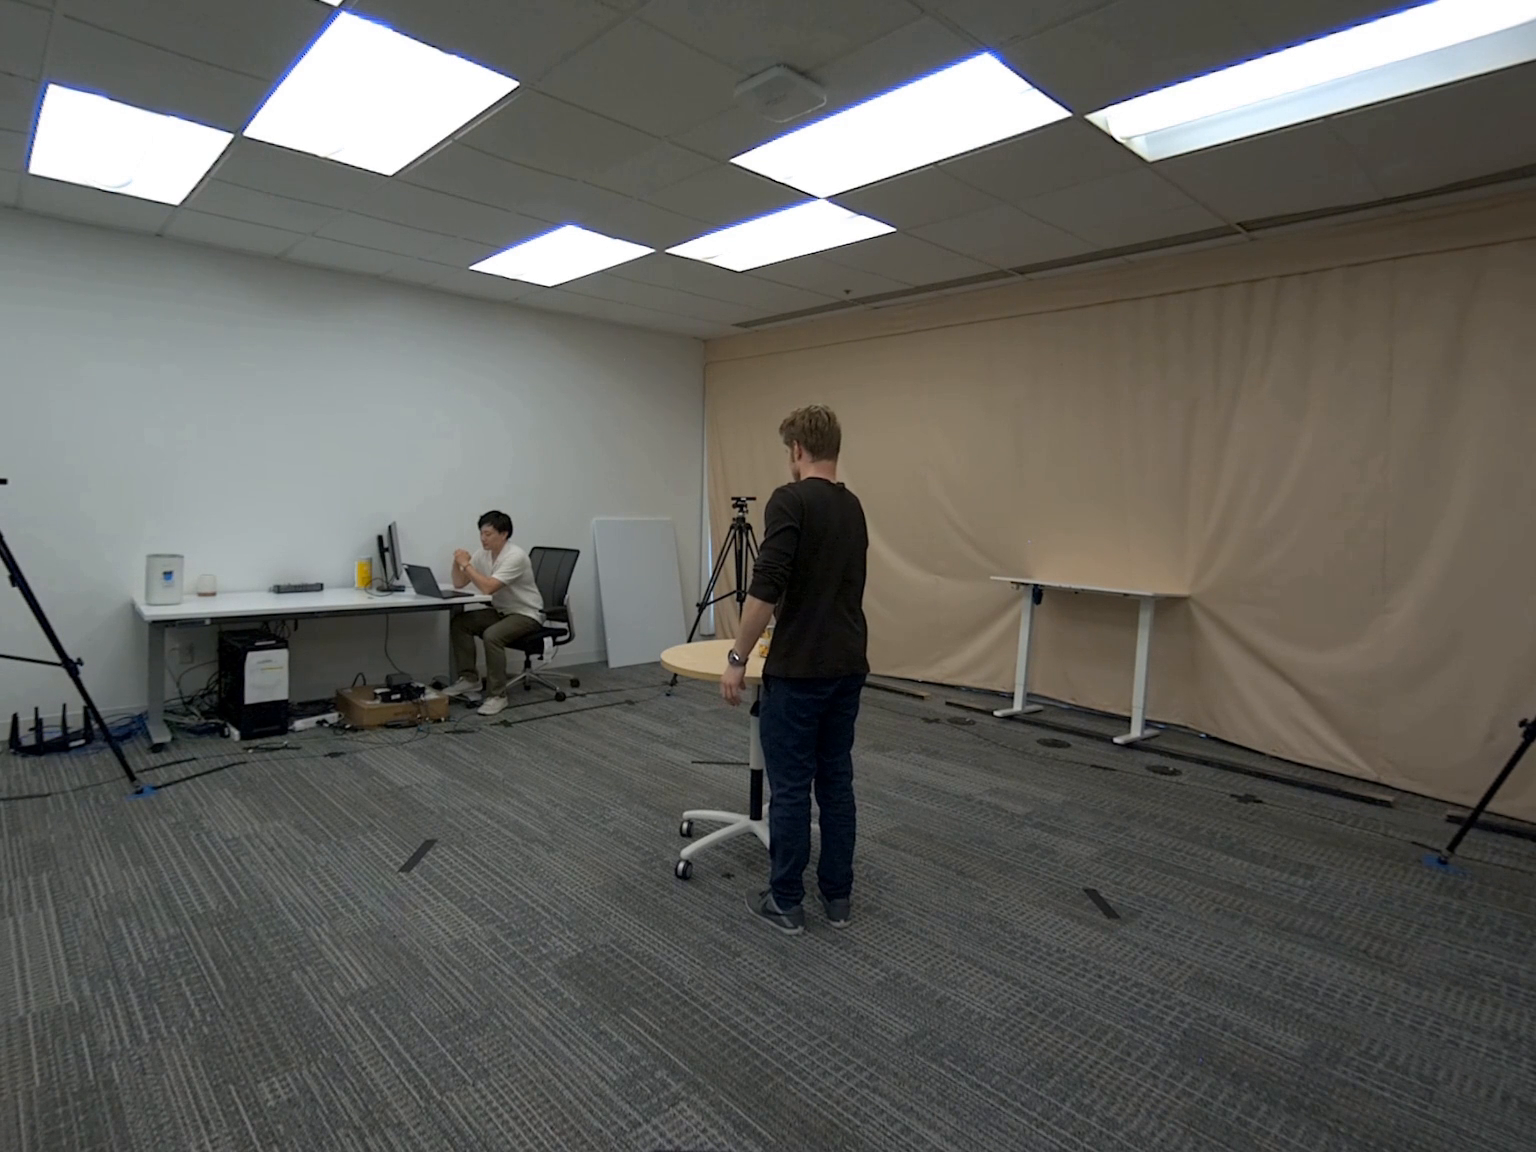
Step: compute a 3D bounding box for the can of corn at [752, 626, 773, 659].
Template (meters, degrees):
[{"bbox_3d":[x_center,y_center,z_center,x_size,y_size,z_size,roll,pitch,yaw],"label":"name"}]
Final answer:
[{"bbox_3d":[0.006,0.255,3.265,0.074,0.111,0.074,5,-1,-1],"label":"can of corn"}]
